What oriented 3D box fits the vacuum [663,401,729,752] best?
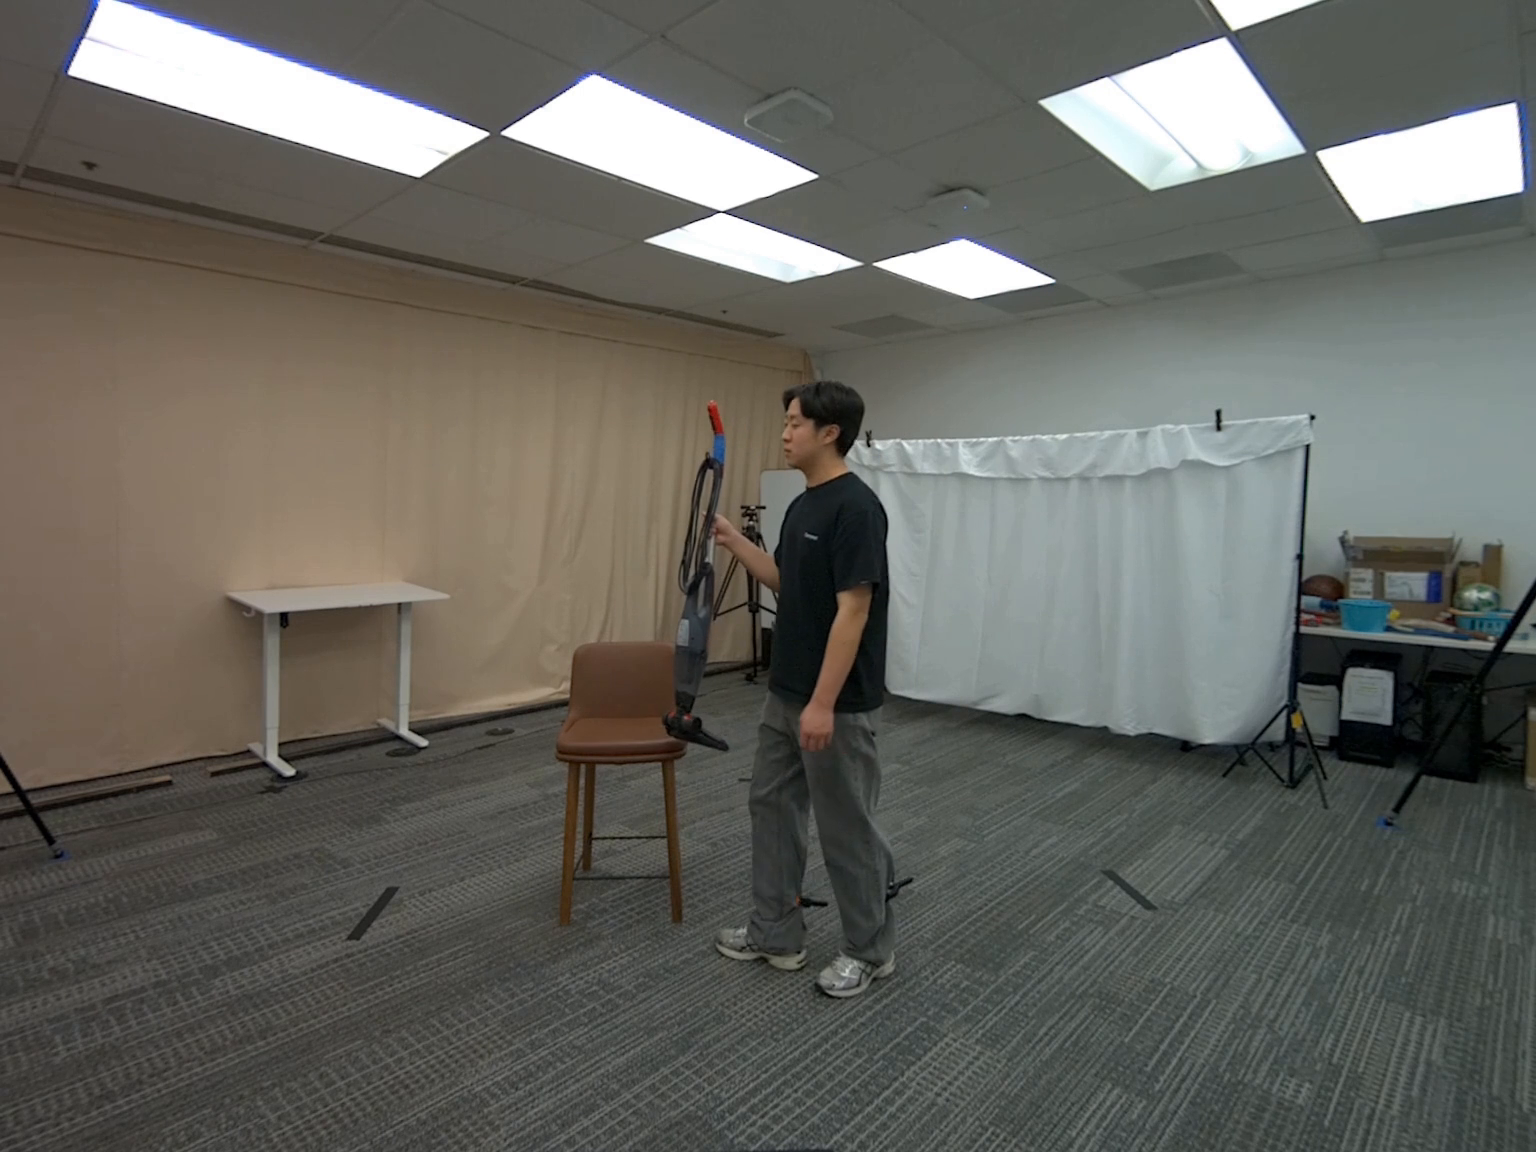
[{"bbox_3d":[-0.211,-0.027,2.683,0.260,1.049,0.140,2,-1,32],"label":"vacuum"}]
